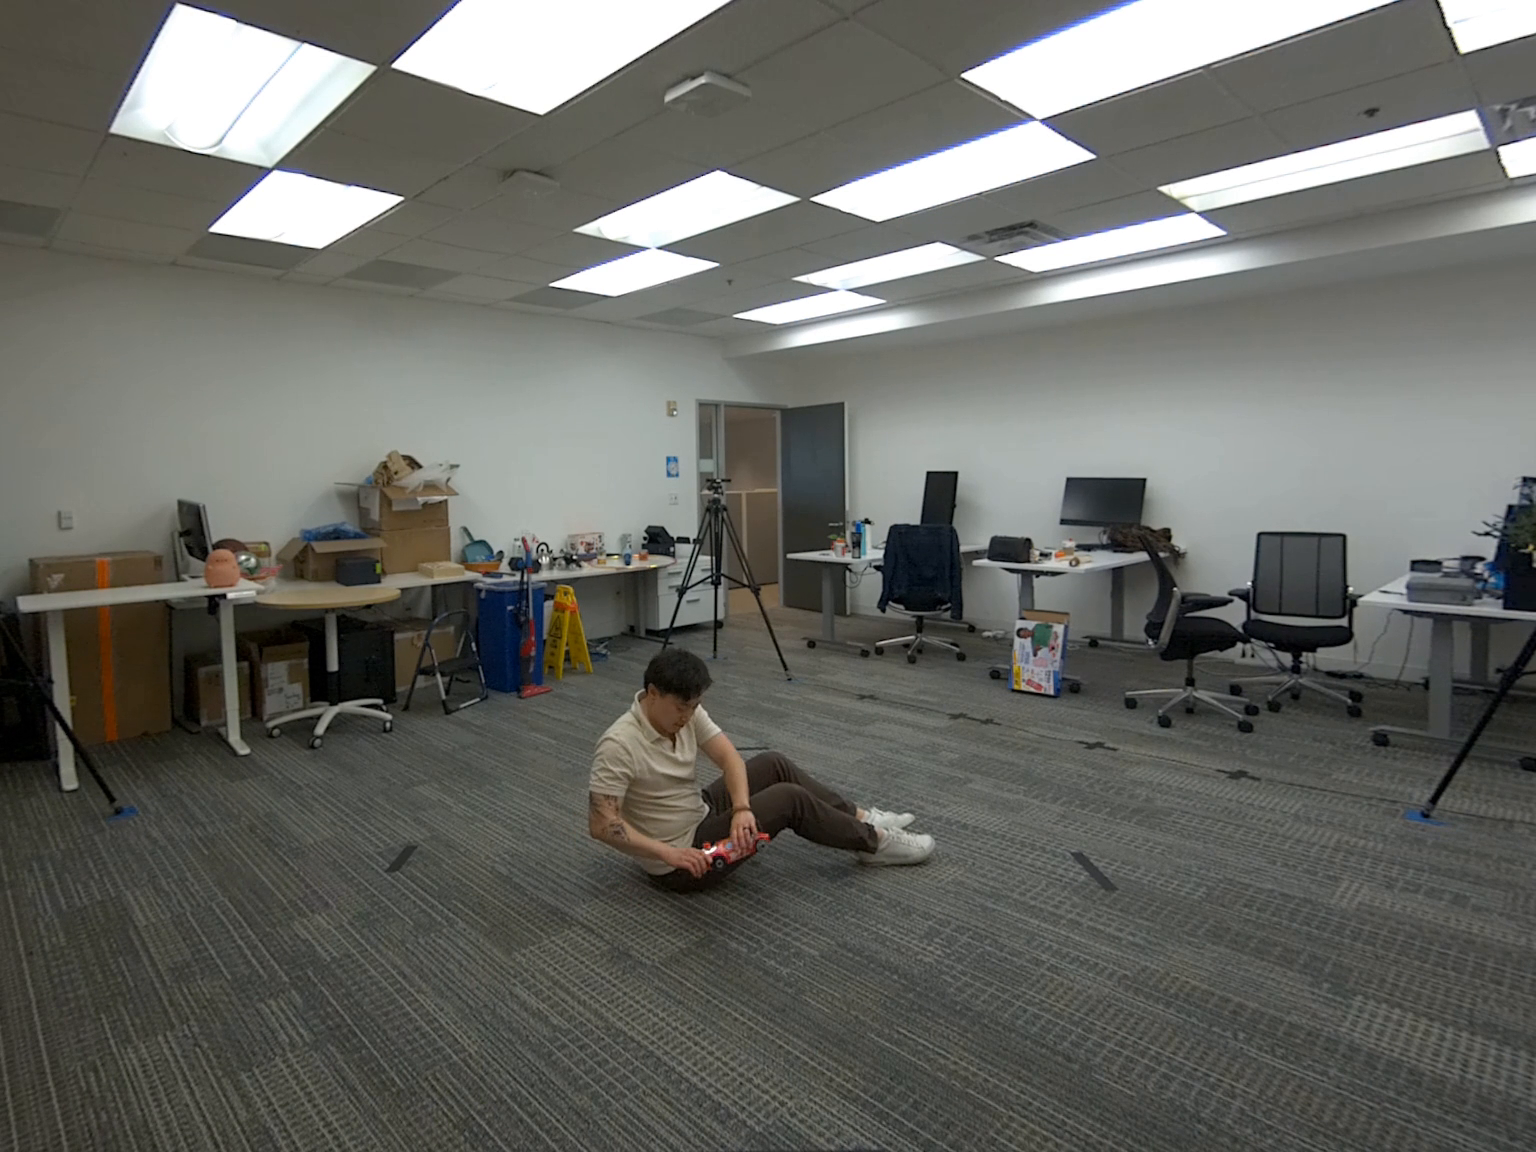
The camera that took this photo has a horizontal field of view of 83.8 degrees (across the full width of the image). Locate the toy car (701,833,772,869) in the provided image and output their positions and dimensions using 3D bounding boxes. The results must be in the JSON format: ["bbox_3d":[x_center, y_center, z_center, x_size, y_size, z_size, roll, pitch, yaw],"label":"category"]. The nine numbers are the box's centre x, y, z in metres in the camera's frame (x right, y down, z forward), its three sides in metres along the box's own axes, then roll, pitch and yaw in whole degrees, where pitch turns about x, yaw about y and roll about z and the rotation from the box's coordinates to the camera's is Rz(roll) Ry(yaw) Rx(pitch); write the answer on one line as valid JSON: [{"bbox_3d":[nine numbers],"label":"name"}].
[{"bbox_3d":[-0.125,0.865,2.678,0.252,0.084,0.130,-4,-12,-12],"label":"toy car"}]
